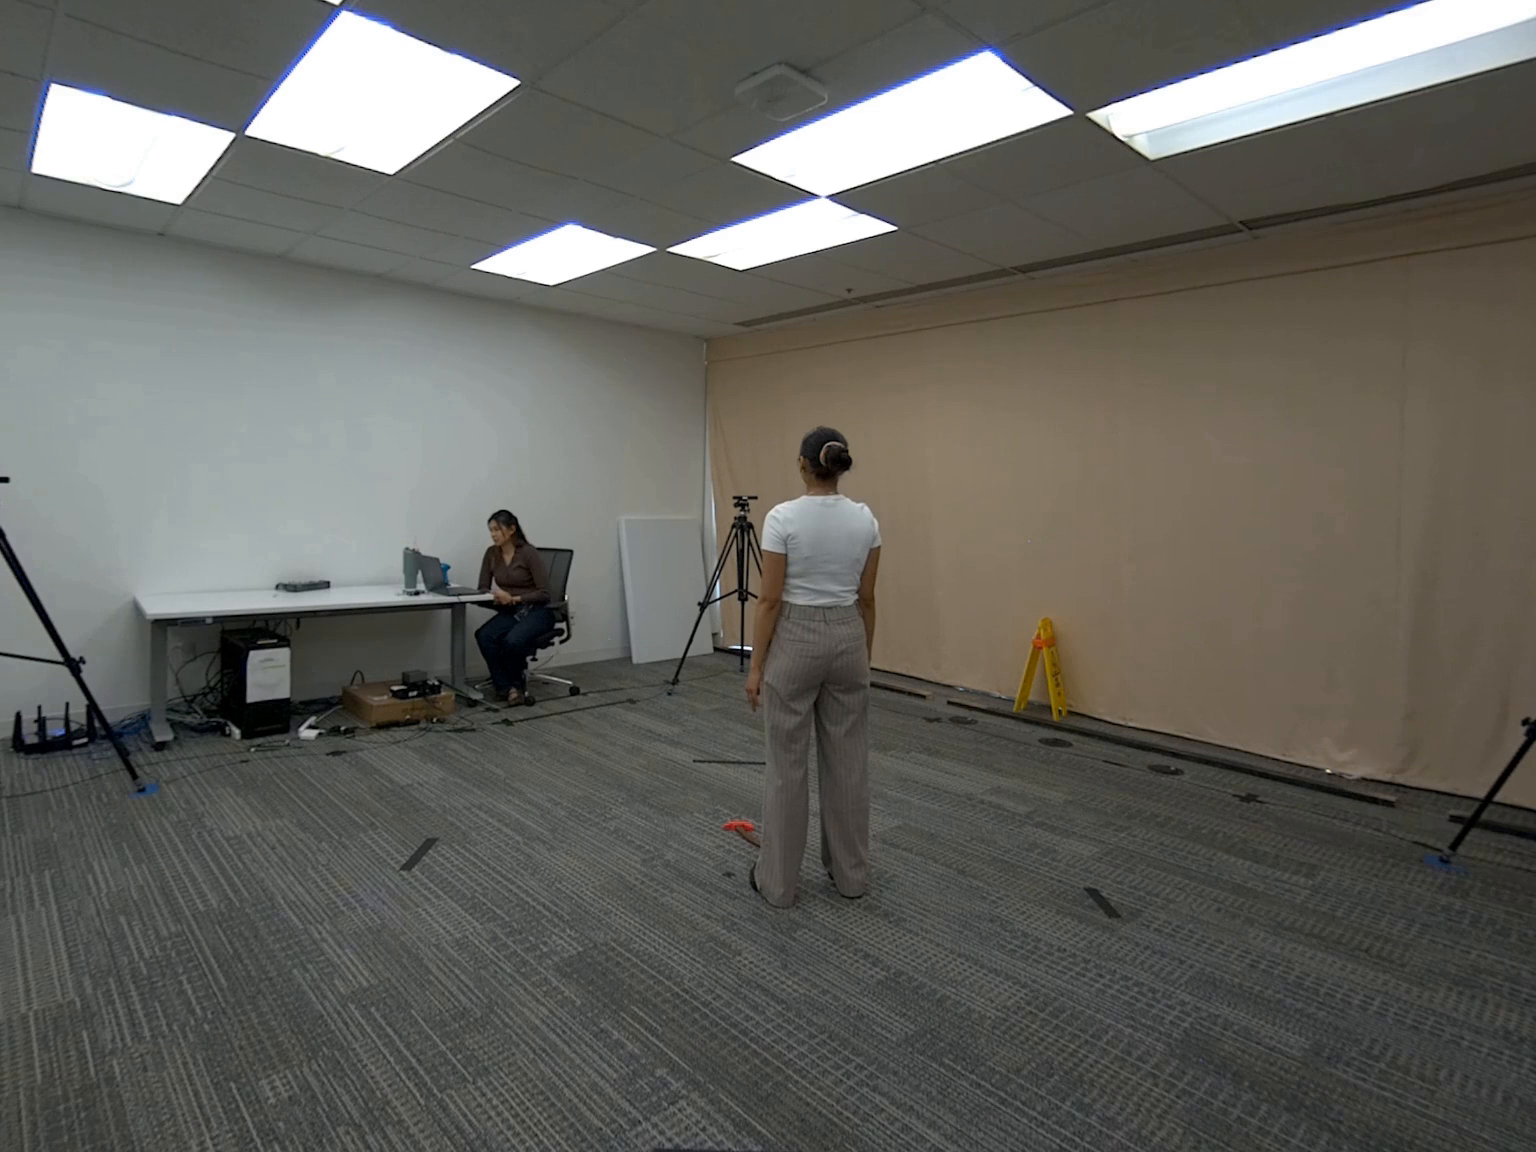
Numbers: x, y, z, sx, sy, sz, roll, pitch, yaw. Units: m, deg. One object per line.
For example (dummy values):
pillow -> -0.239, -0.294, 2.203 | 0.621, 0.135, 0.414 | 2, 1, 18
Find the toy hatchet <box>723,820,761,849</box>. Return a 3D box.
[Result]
toy hatchet -> -0.070, 1.060, 3.462 | 0.128, 0.029, 0.277 | -1, 6, -40
